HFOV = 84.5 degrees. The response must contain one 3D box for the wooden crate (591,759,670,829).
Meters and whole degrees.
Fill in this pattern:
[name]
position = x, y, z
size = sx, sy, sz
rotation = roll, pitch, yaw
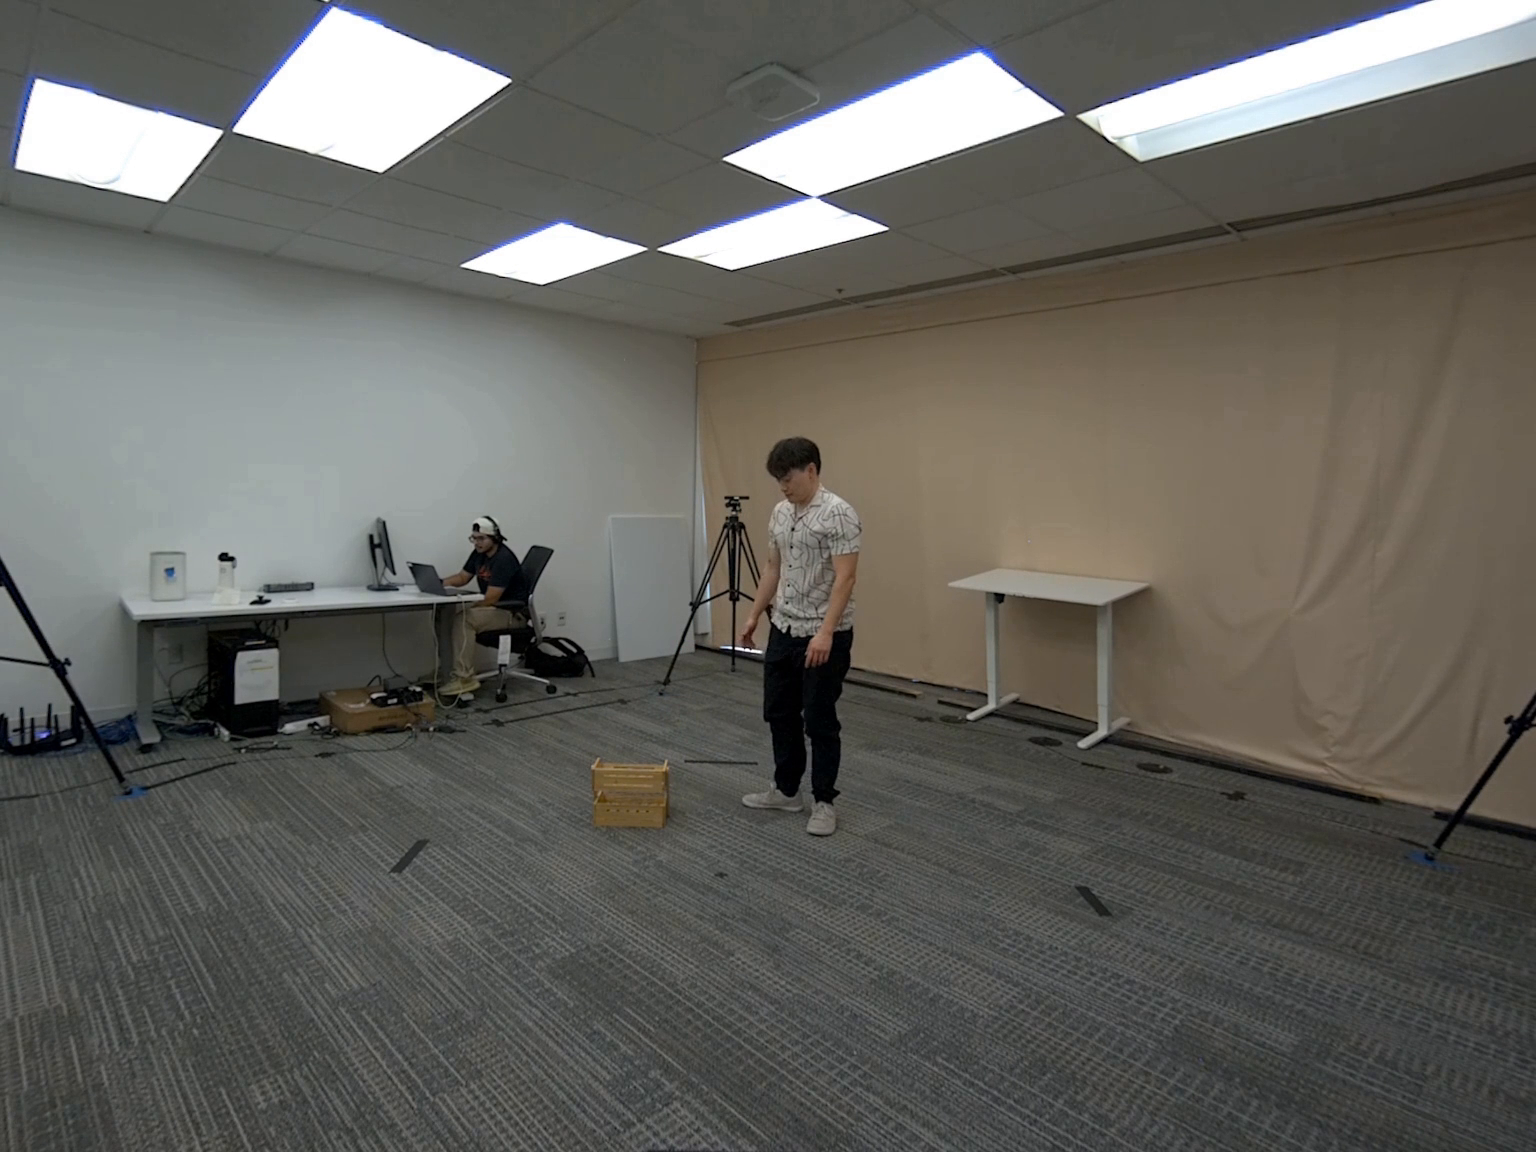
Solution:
[wooden crate]
position = -0.596, 0.914, 3.638
size = 0.324, 0.273, 0.303
rotation = 1, 3, -2
